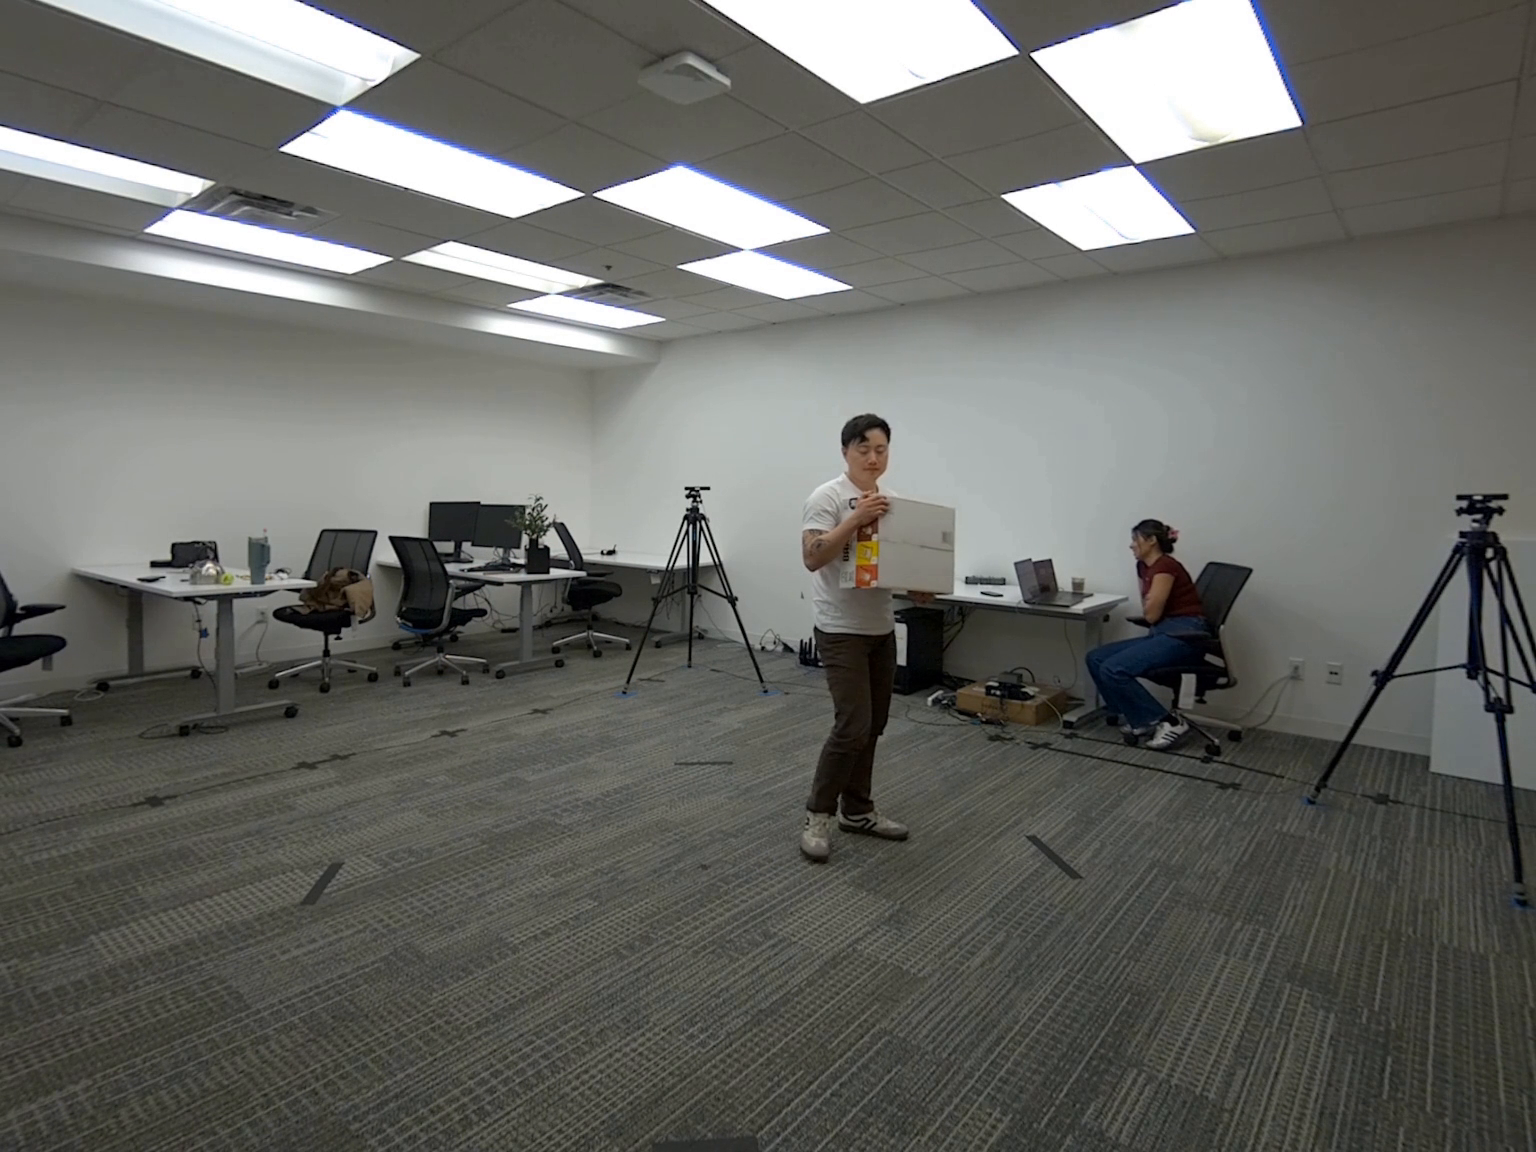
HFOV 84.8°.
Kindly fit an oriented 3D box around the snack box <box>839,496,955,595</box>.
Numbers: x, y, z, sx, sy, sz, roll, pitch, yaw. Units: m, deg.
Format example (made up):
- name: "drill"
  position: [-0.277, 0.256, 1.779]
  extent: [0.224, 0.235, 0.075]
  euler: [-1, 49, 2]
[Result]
- name: "snack box"
  position: [0.486, -0.114, 3.228]
  extent: [0.392, 0.342, 0.211]
  euler: [6, -6, -34]
